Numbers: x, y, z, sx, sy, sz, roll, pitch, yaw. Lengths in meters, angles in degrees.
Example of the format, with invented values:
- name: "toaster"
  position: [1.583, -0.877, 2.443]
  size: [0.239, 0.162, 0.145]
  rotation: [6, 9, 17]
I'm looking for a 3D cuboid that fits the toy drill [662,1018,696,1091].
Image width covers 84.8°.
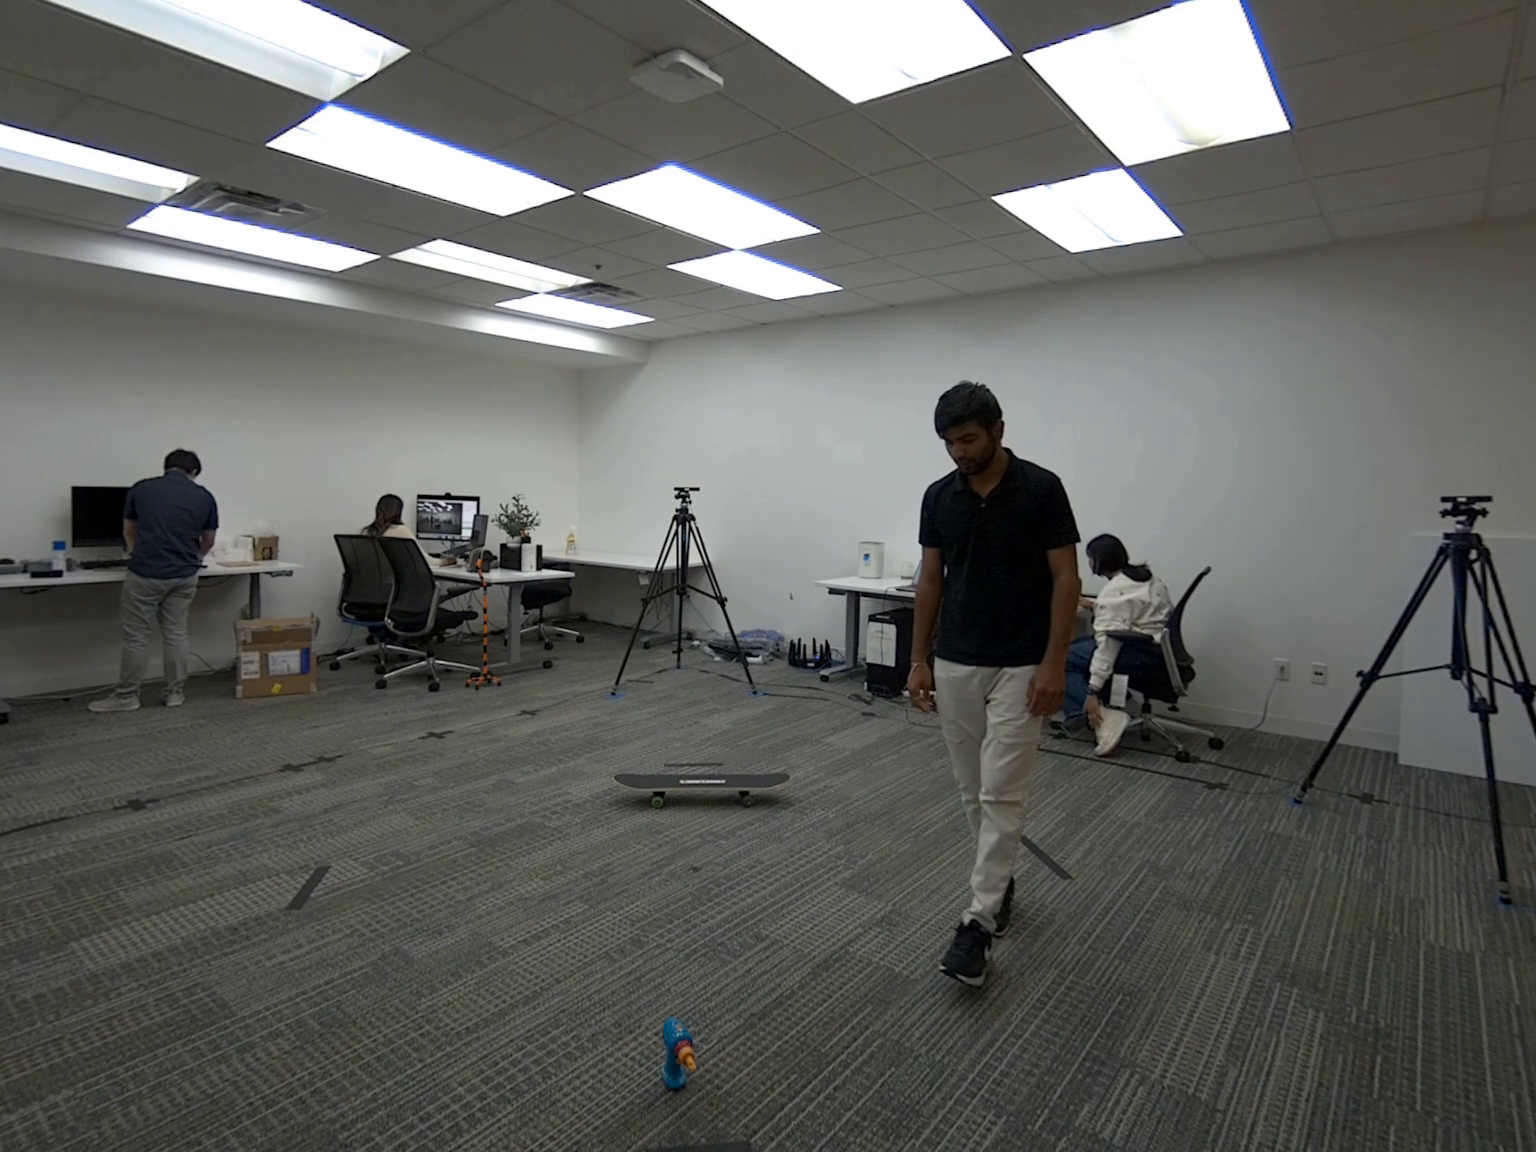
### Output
- name: "toy drill"
  position: [-0.204, 1.115, 1.950]
  size: [0.060, 0.145, 0.175]
  rotation: [-1, 9, -24]
